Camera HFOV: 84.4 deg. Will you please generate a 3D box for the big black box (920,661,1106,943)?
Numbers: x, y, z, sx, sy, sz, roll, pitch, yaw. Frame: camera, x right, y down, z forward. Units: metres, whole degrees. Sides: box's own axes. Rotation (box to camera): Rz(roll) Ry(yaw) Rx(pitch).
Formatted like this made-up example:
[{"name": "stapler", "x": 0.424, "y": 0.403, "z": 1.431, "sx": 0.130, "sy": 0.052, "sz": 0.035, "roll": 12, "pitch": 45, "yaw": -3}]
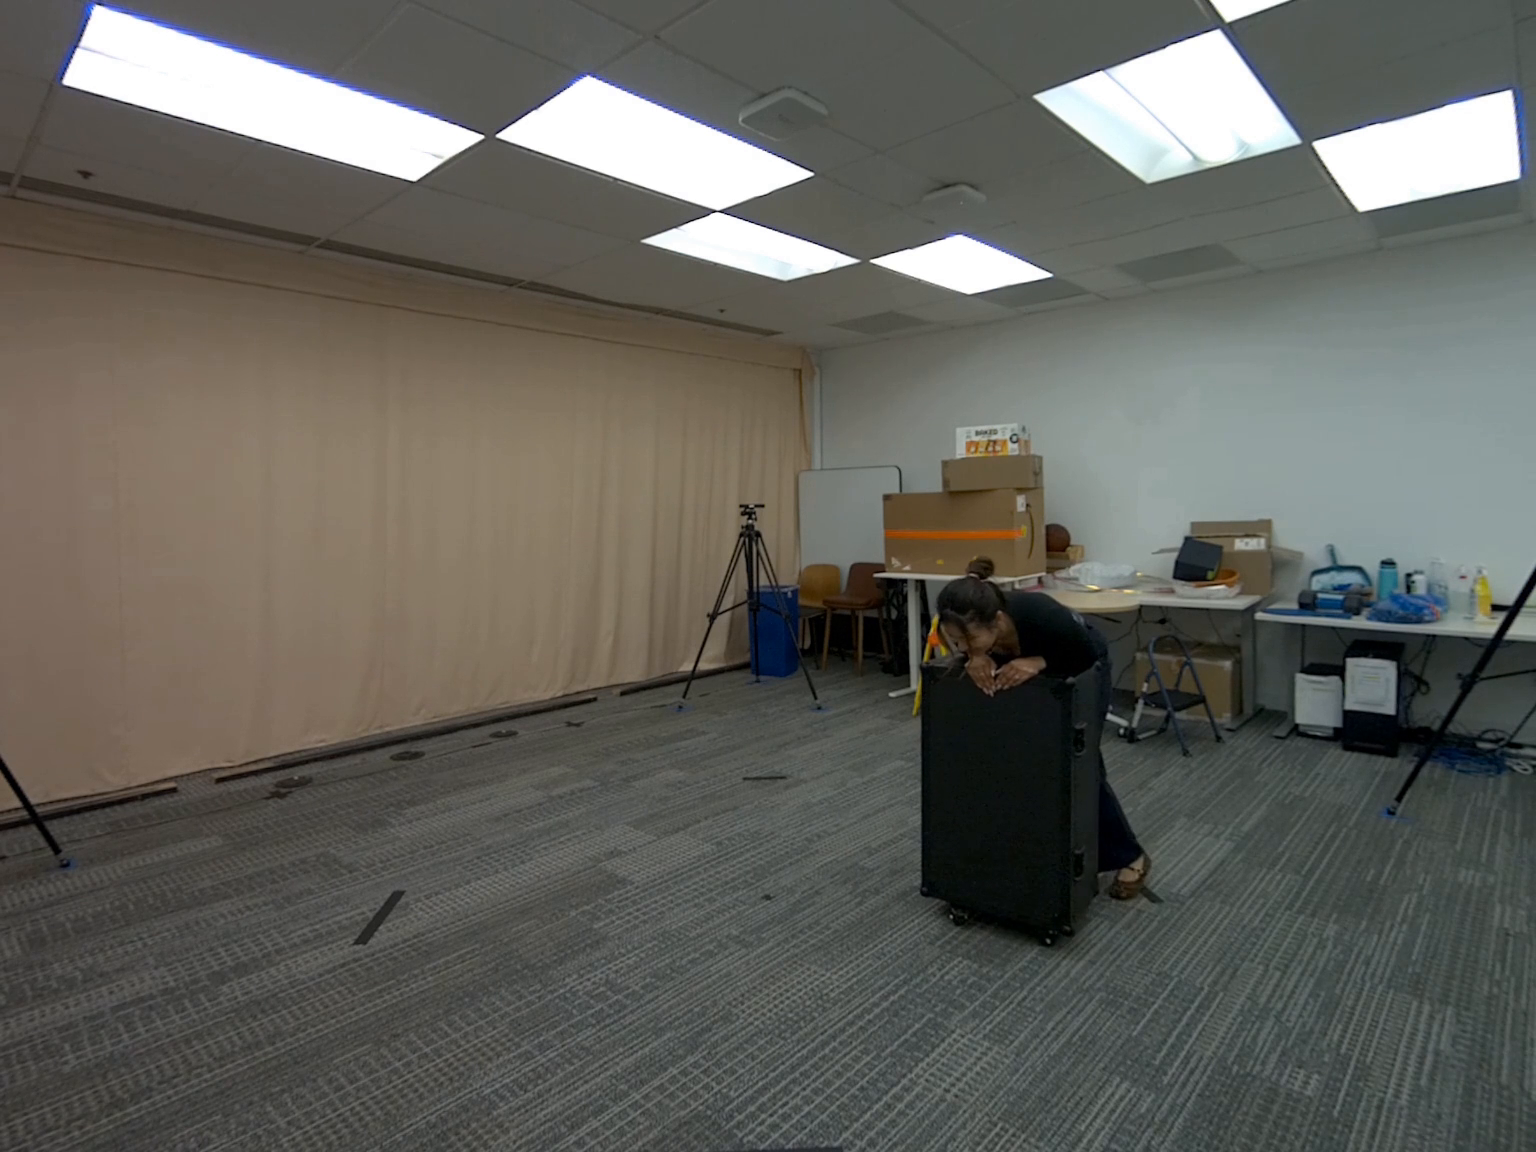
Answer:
[{"name": "big black box", "x": 0.812, "y": 0.716, "z": 2.818, "sx": 0.537, "sy": 0.860, "sz": 0.384, "roll": 1, "pitch": 3, "yaw": 36}]
